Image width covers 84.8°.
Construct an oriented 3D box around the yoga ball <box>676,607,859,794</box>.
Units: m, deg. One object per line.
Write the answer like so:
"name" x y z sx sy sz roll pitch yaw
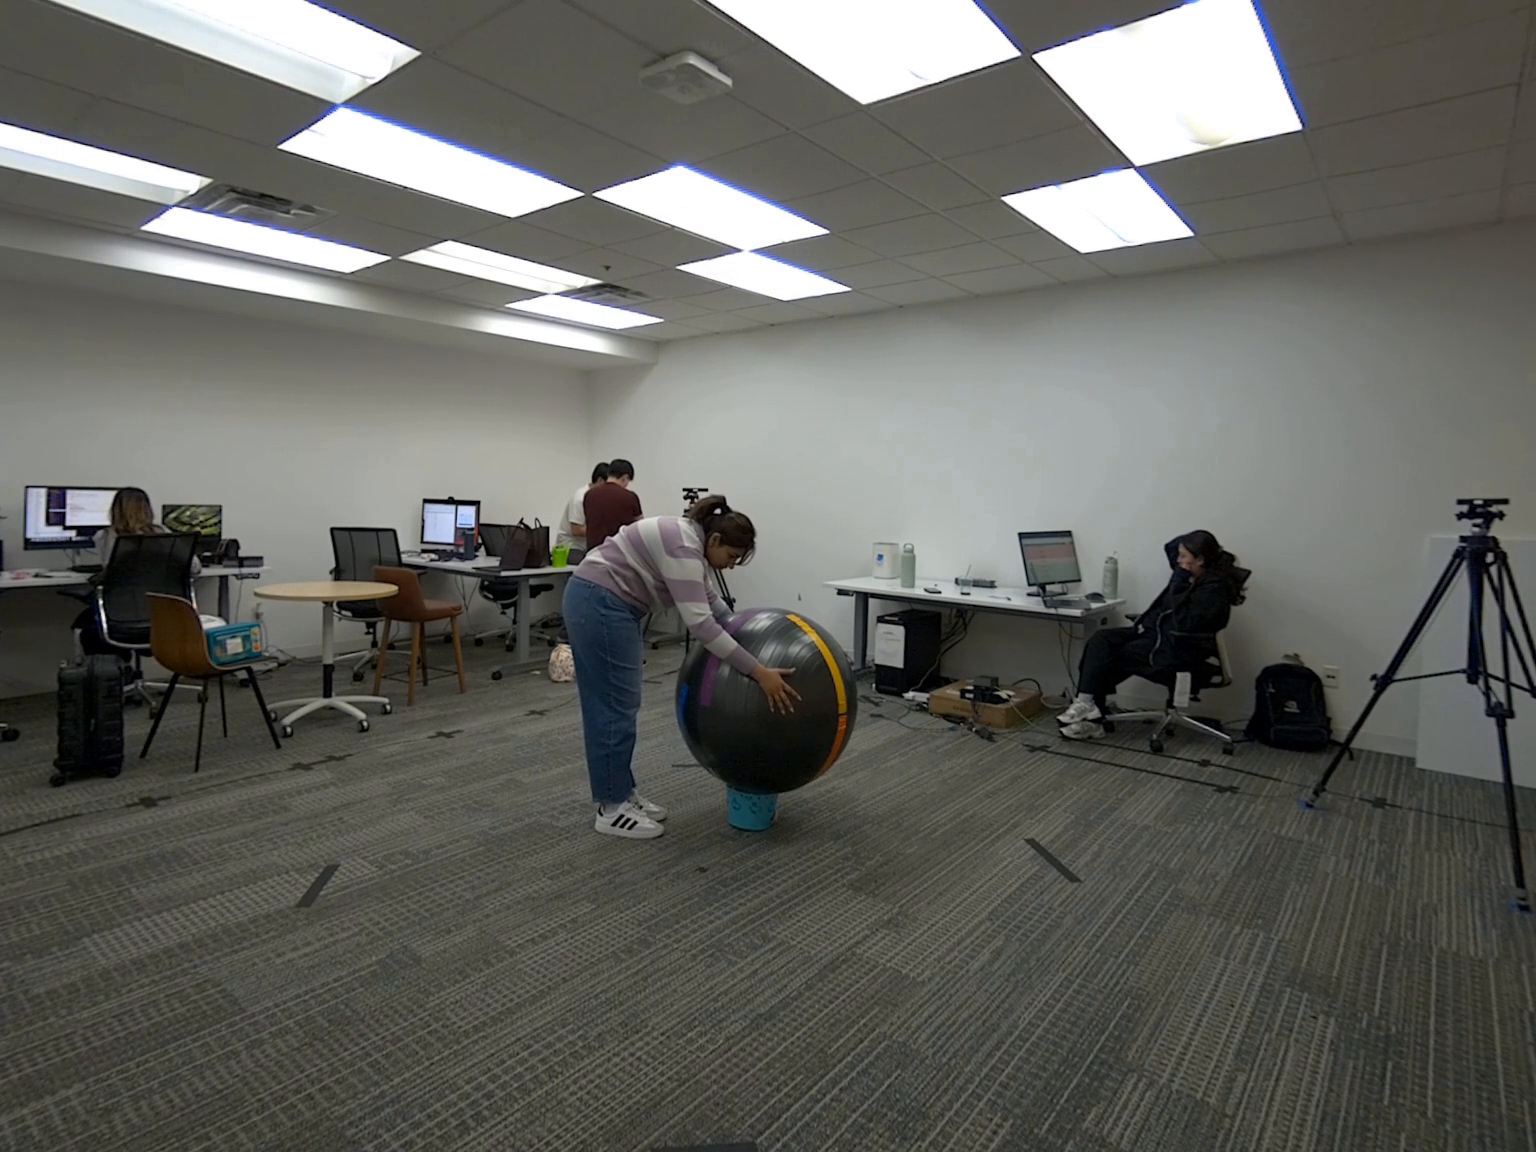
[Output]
"yoga ball" -0.020 0.512 3.550 0.757 0.756 0.761 1 4 -2
